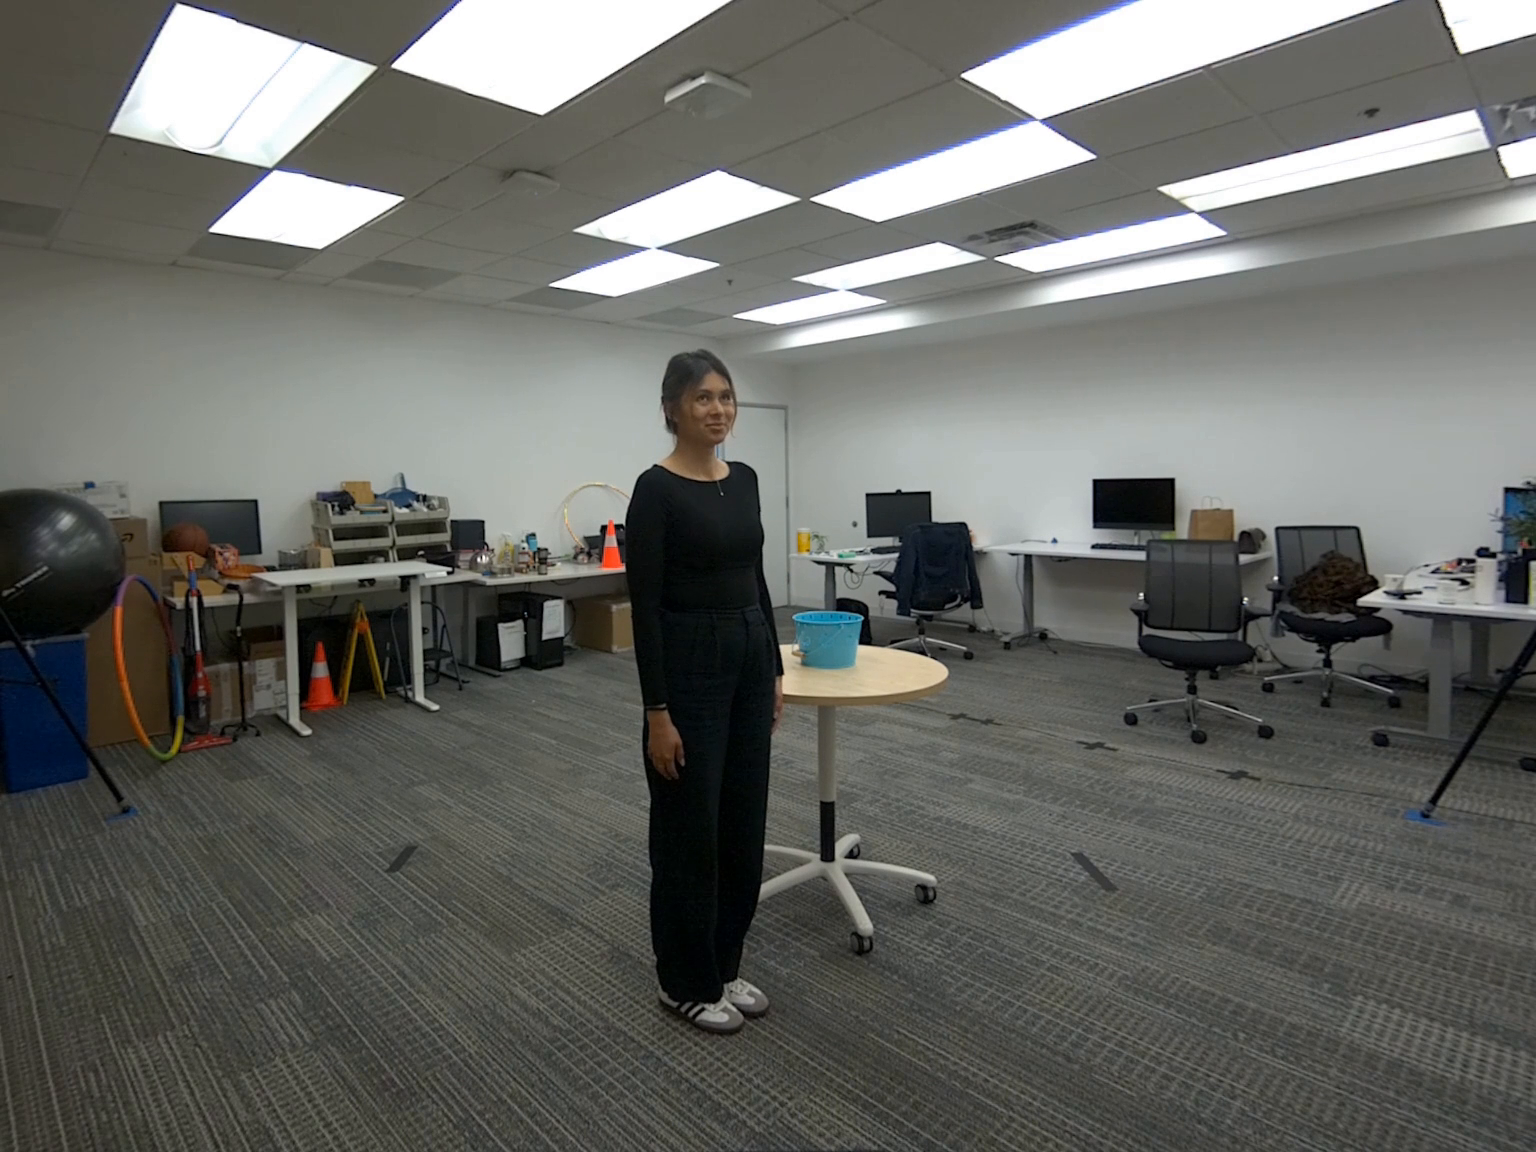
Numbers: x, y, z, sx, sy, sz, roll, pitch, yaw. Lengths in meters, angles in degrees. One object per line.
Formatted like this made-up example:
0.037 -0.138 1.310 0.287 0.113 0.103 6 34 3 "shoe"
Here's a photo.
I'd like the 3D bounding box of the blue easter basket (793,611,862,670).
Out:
0.201 0.217 2.831 0.243 0.155 0.245 0 6 -2 "blue easter basket"
